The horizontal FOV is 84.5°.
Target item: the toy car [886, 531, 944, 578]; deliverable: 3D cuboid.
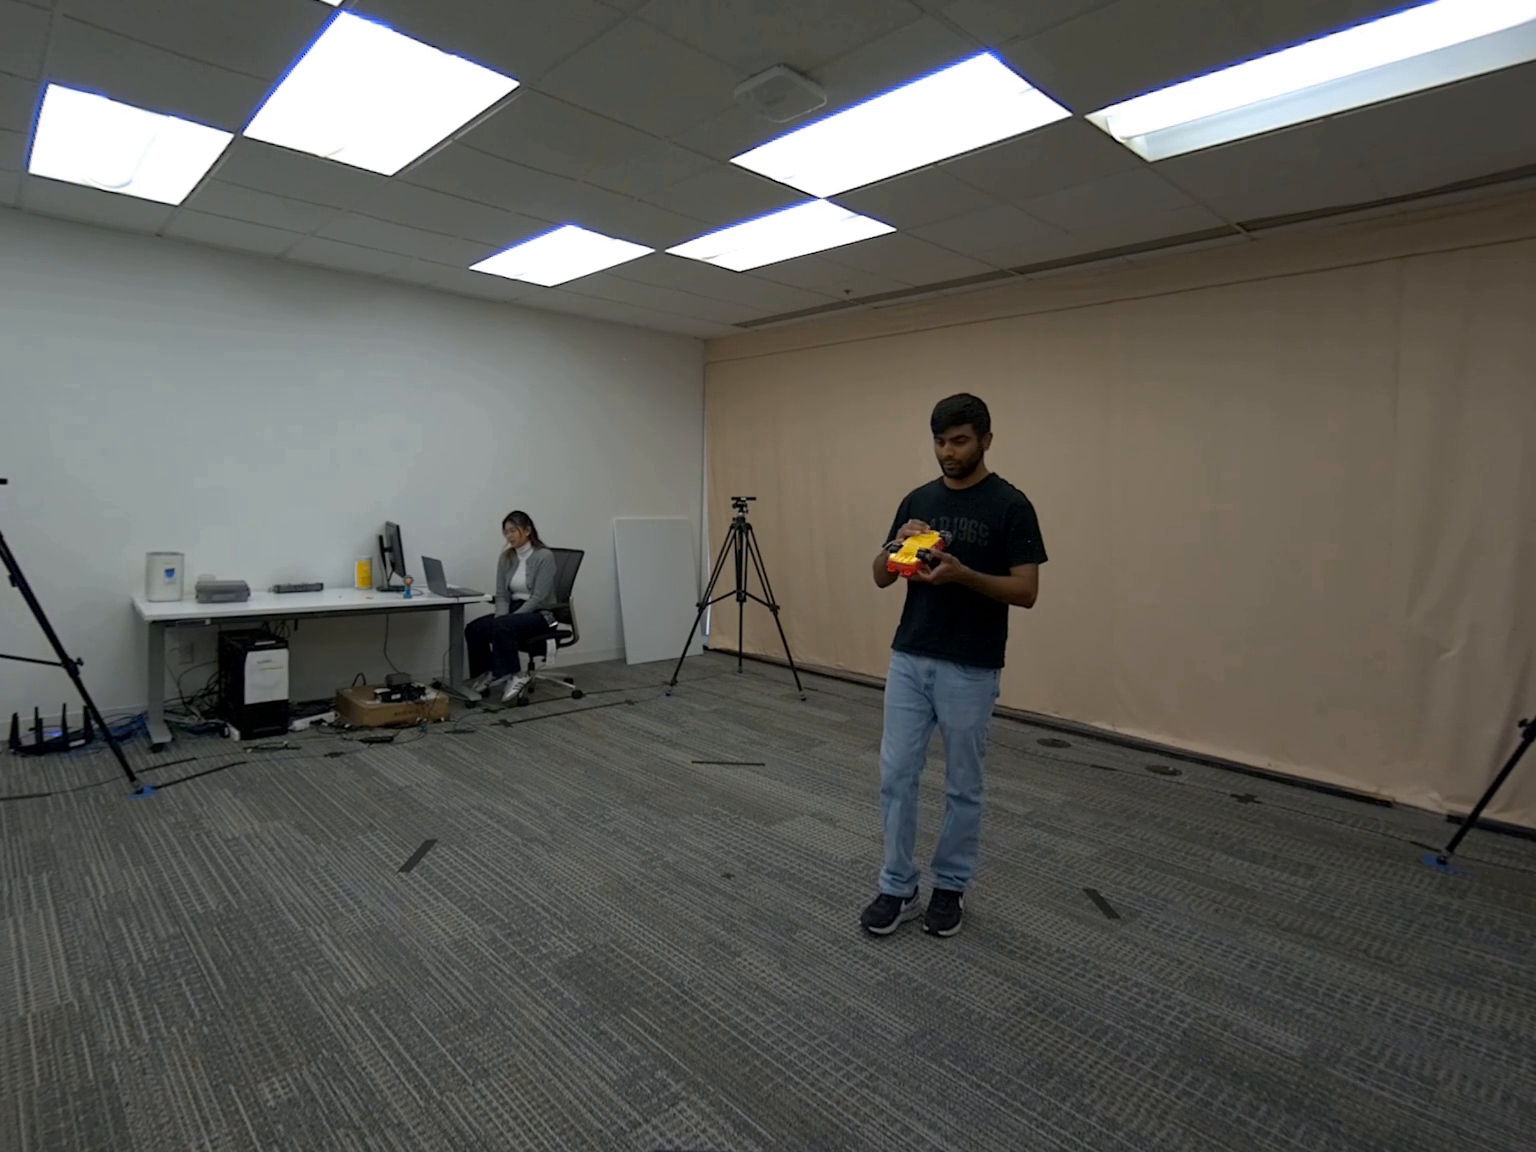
[{"bbox_3d":[0.443,-0.073,2.516,0.133,0.081,0.254,10,42,32],"label":"toy car"}]
